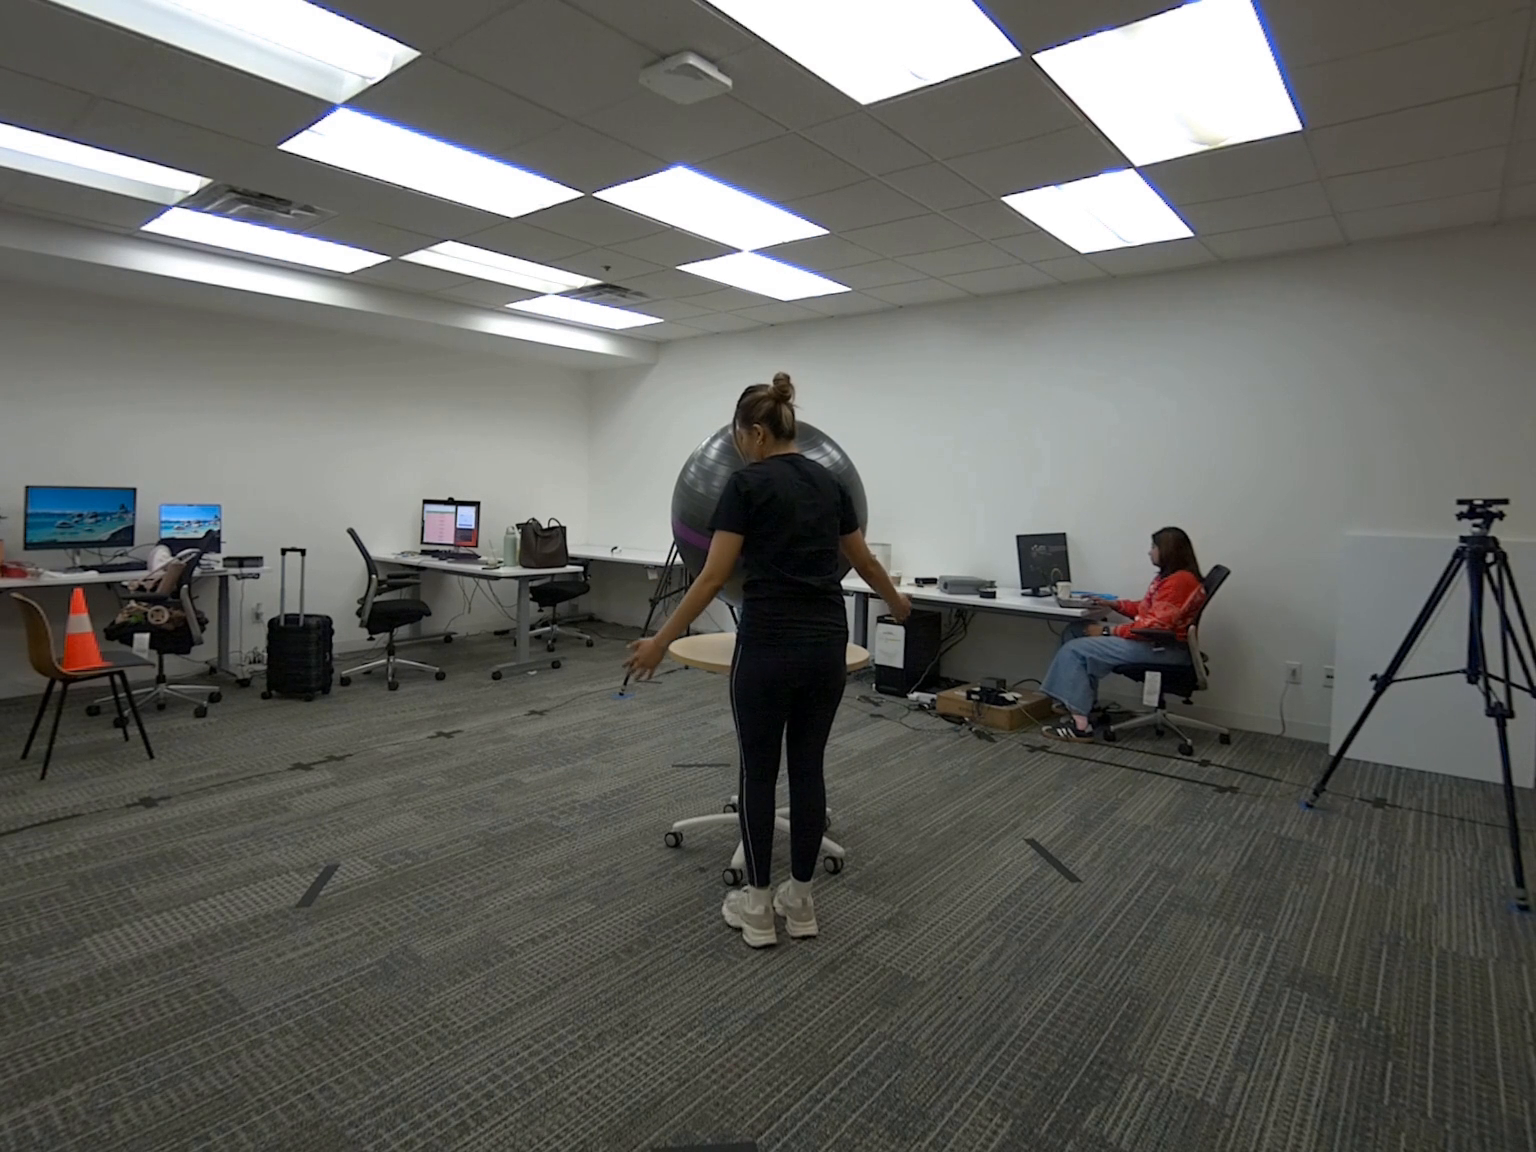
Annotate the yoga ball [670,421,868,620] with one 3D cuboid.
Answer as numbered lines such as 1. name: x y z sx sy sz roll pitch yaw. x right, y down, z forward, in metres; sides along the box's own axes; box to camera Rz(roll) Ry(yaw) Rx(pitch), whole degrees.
1. yoga ball: 0.000 -0.239 3.301 0.757 0.756 0.762 1 4 -2
